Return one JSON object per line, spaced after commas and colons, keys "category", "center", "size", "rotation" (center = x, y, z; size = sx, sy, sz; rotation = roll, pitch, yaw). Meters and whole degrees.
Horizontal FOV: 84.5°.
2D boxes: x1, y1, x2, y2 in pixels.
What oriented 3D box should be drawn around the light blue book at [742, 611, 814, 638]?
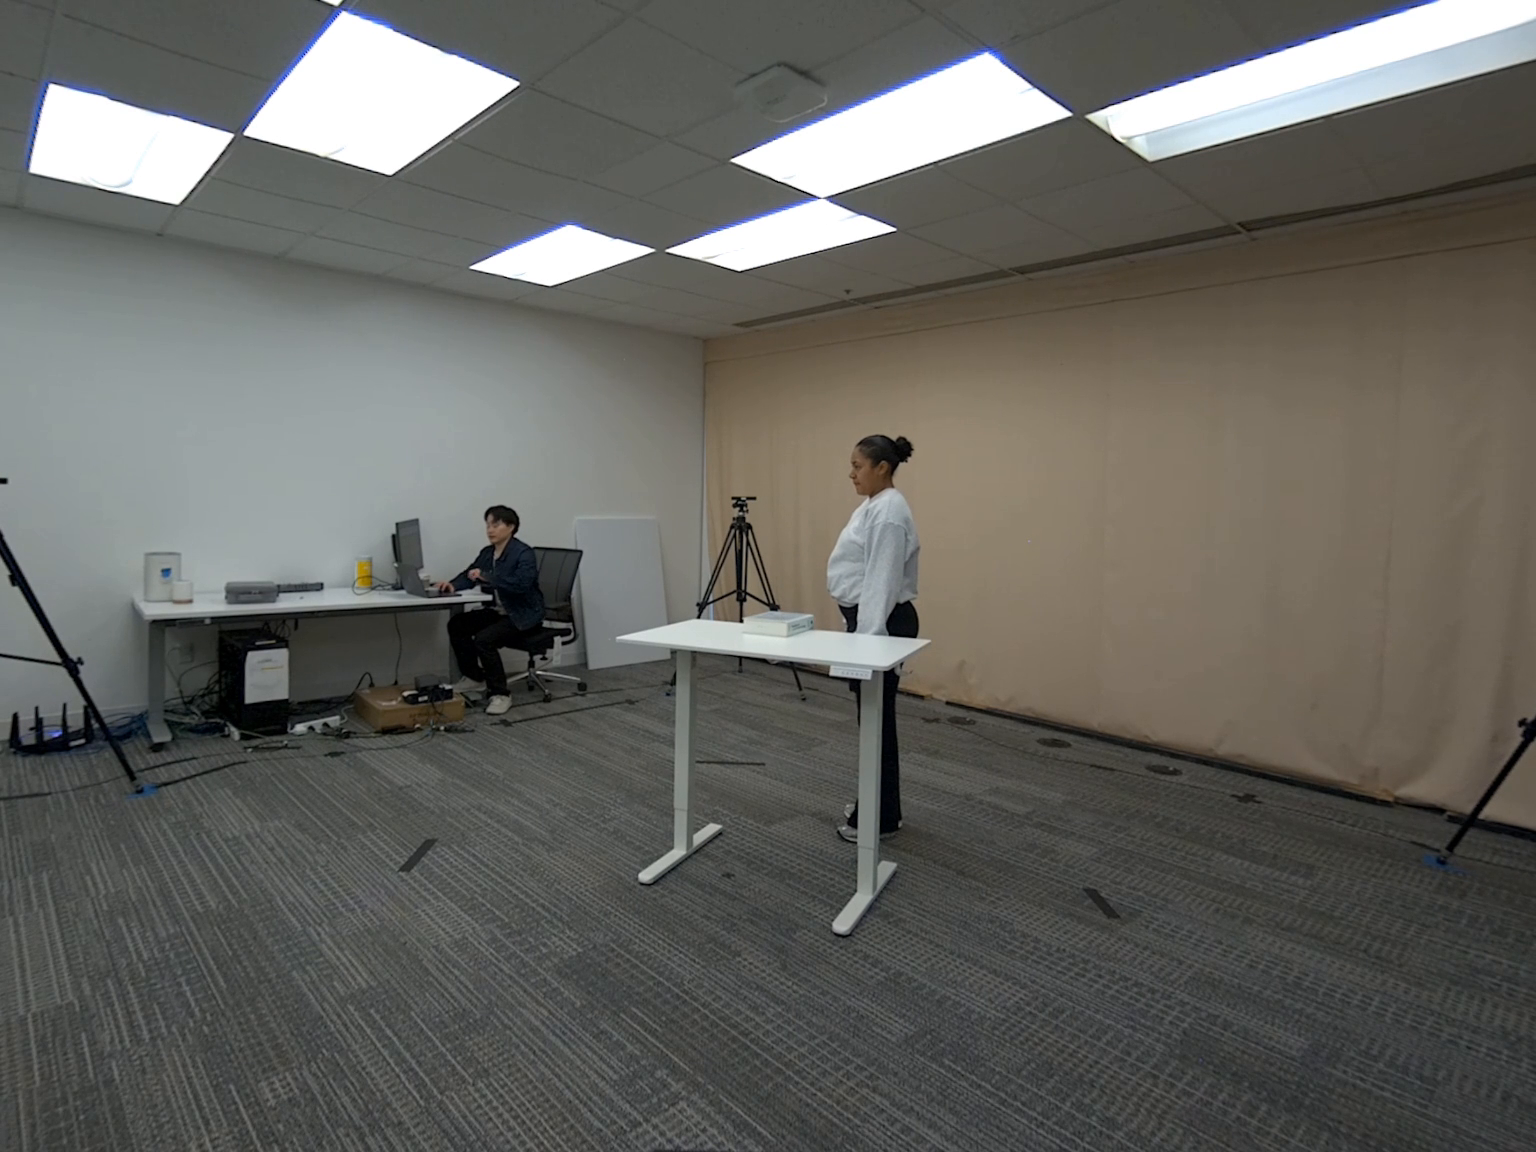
{"category": "light blue book", "center": [0.038, 0.184, 3.275], "size": [0.195, 0.059, 0.256], "rotation": [4, 5, 27]}
